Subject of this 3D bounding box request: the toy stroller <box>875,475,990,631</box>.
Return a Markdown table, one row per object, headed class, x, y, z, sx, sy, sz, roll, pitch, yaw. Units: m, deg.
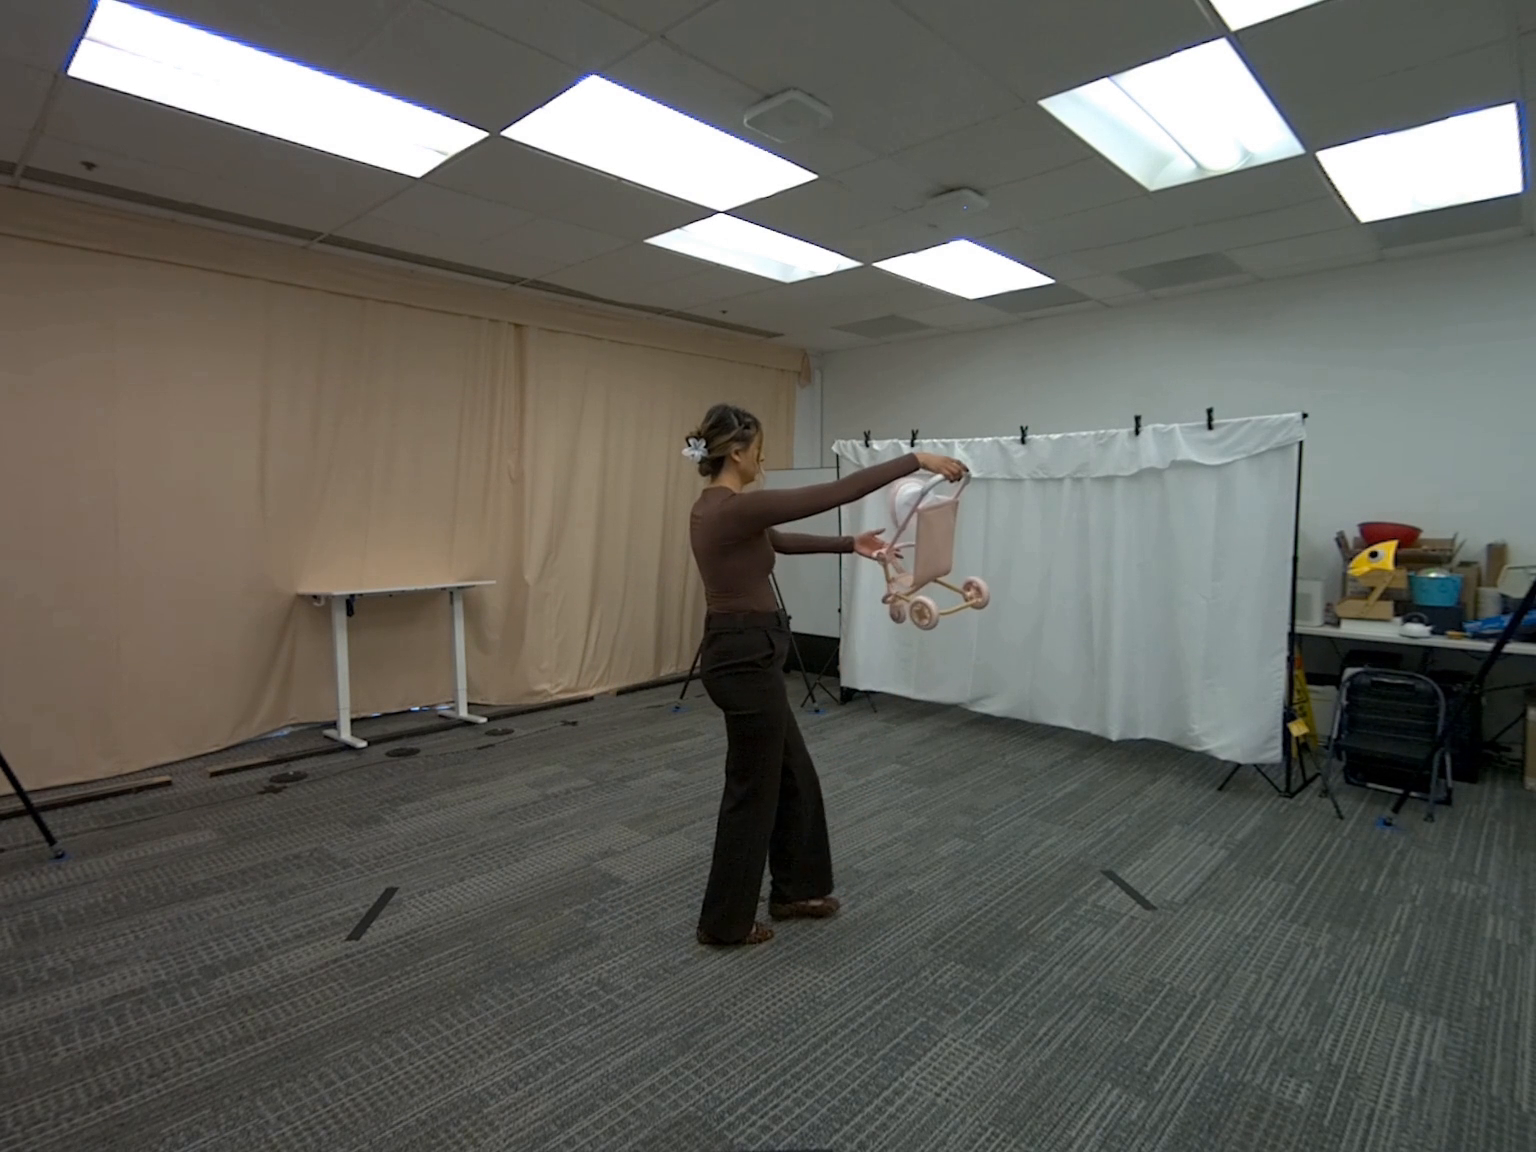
| class | x | y | z | sx | sy | sz | roll | pitch | yaw |
| --- | --- | --- | --- | --- | --- | --- | --- | --- | --- |
| toy stroller | 0.505 | -0.075 | 2.733 | 0.275 | 0.530 | 0.352 | -14 | 14 | -29 |
